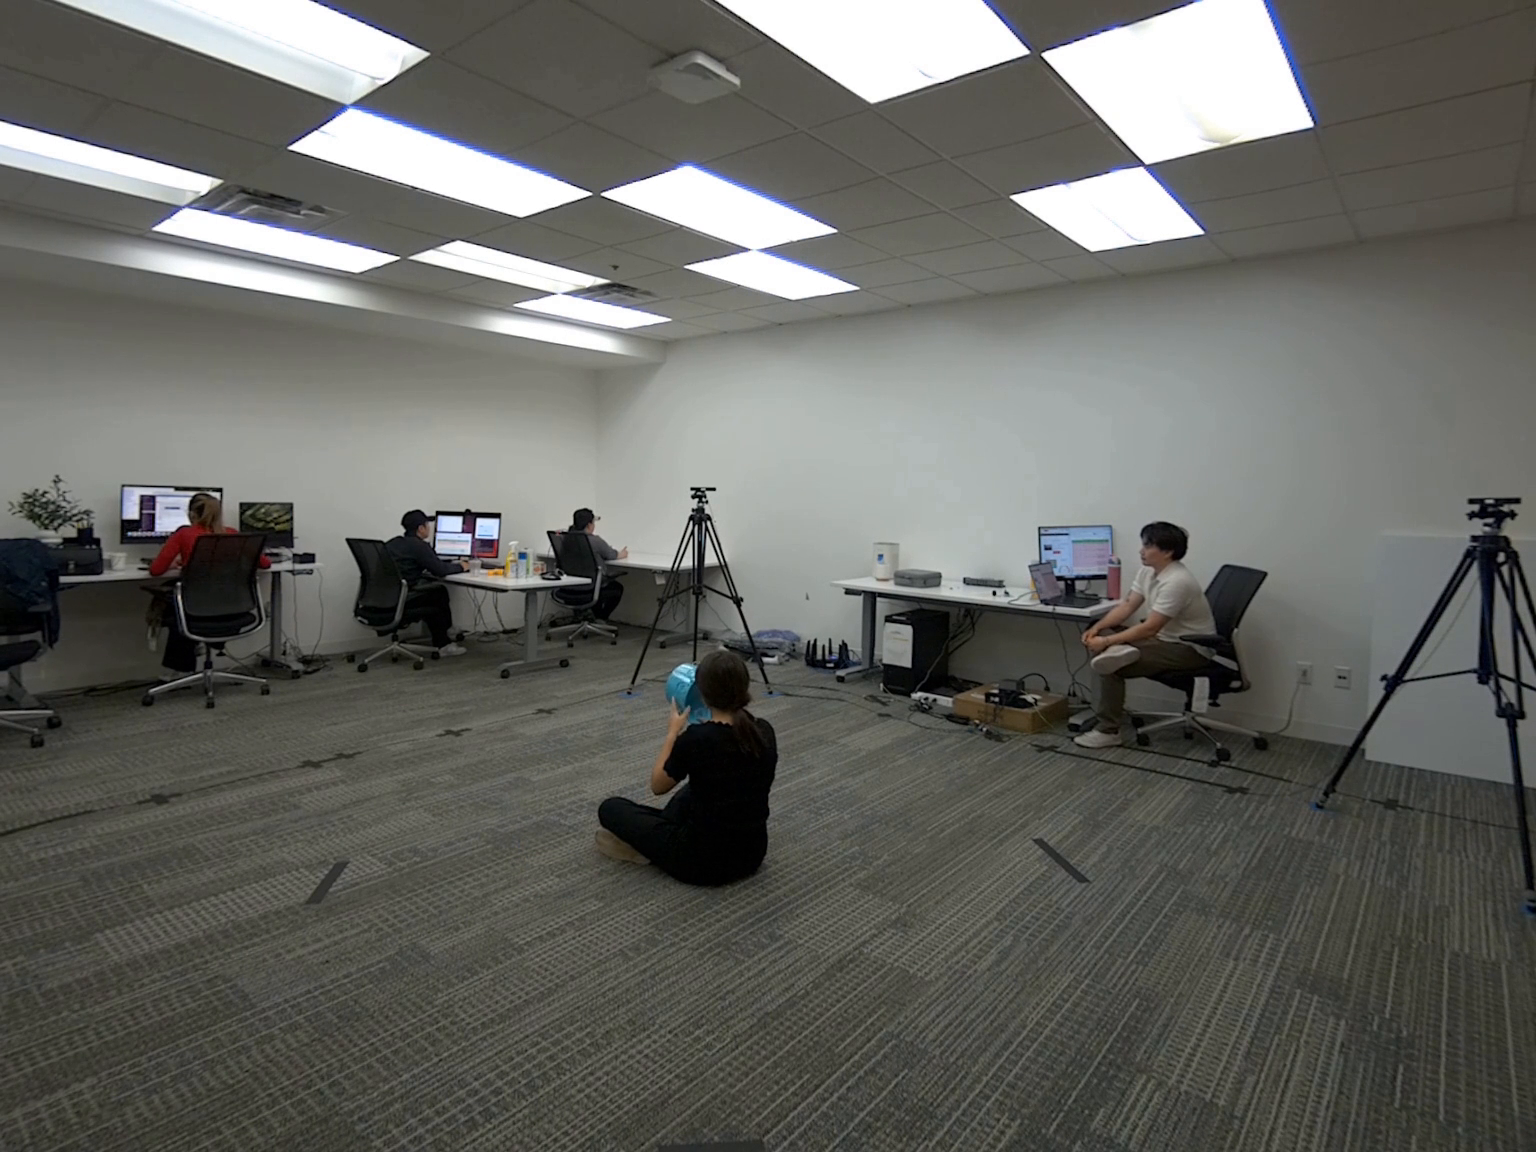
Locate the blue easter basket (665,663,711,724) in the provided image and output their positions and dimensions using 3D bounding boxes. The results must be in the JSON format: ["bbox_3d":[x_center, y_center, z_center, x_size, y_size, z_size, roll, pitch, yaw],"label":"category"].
[{"bbox_3d":[-0.306,0.464,3.462,0.236,0.241,0.162,-3,15,-44],"label":"blue easter basket"}]
